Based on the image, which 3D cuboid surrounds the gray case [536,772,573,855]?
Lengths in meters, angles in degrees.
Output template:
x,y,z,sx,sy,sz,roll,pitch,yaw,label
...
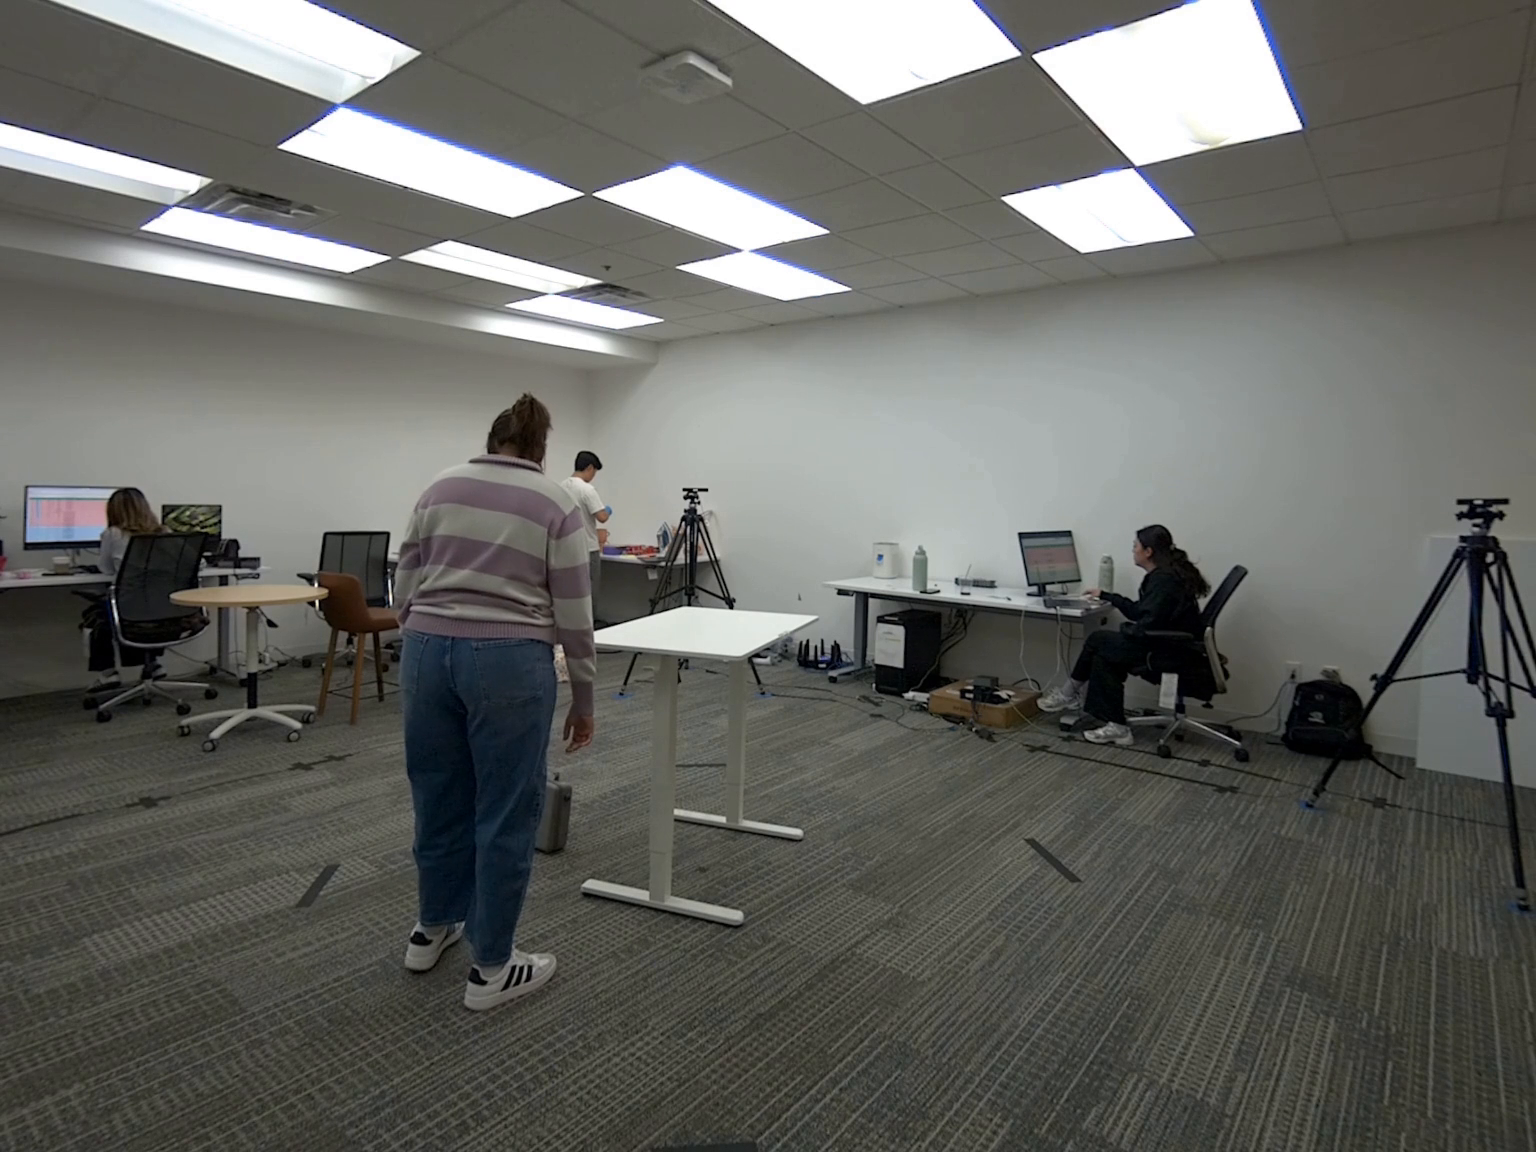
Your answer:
x,y,z,sx,sy,sz,roll,pitch,yaw,label
-0.902,0.909,3.312,0.265,0.262,0.100,2,-7,37,gray case
